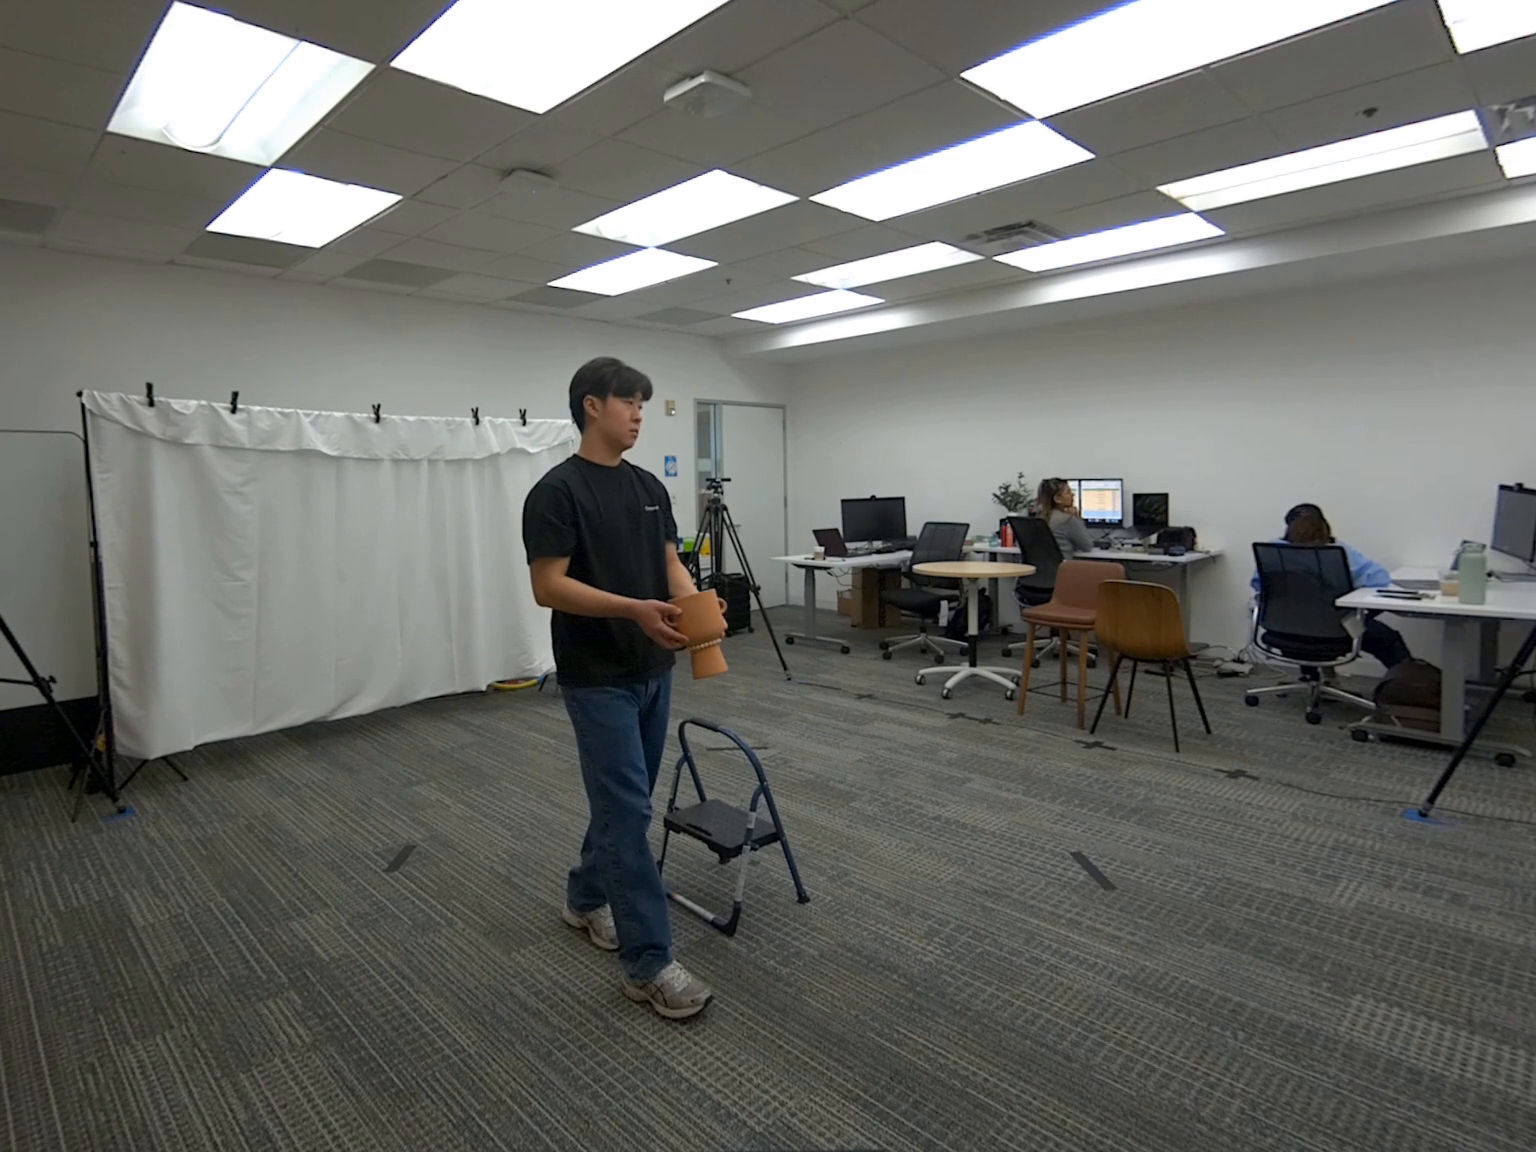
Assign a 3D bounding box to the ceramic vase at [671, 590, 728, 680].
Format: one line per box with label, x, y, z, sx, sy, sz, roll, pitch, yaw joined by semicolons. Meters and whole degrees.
ceramic vase;-0.190;0.159;2.284;0.159;0.221;0.133;-16;-4;7
